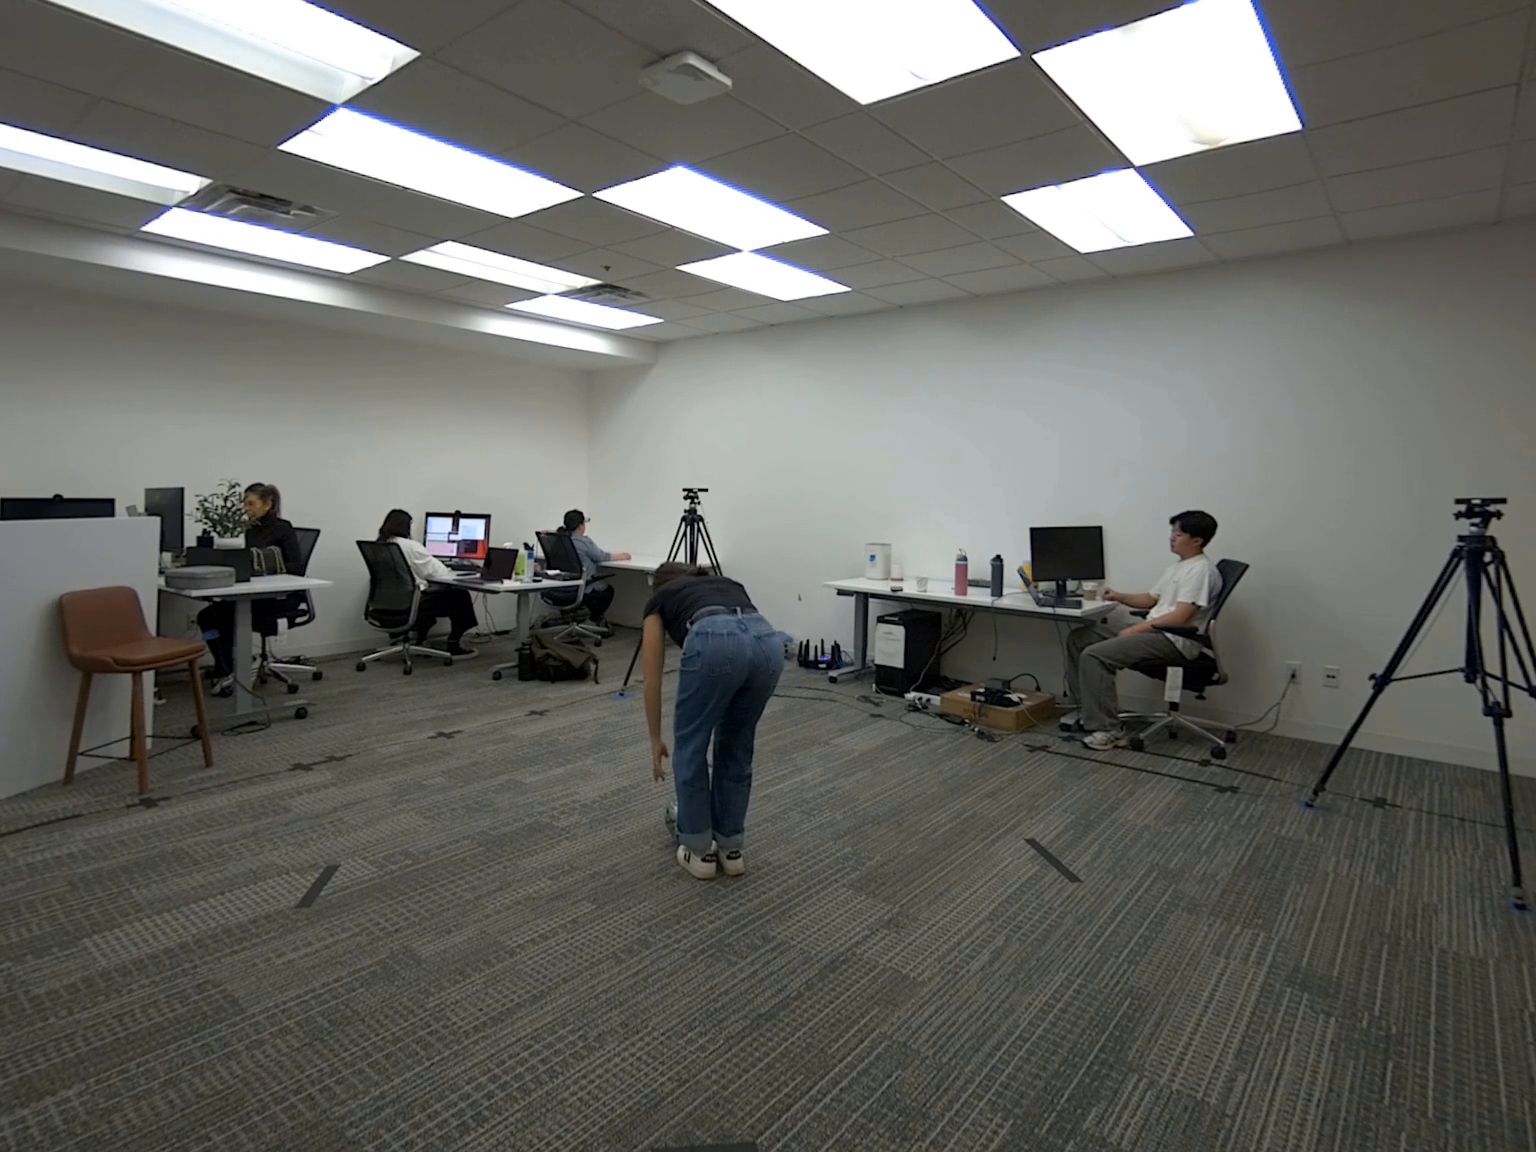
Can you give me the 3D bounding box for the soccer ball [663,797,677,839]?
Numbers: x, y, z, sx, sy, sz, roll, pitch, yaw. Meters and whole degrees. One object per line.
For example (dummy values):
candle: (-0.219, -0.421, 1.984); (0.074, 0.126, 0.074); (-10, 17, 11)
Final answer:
soccer ball: (-0.307, 0.936, 3.367); (0.187, 0.187, 0.188); (1, 4, -2)
